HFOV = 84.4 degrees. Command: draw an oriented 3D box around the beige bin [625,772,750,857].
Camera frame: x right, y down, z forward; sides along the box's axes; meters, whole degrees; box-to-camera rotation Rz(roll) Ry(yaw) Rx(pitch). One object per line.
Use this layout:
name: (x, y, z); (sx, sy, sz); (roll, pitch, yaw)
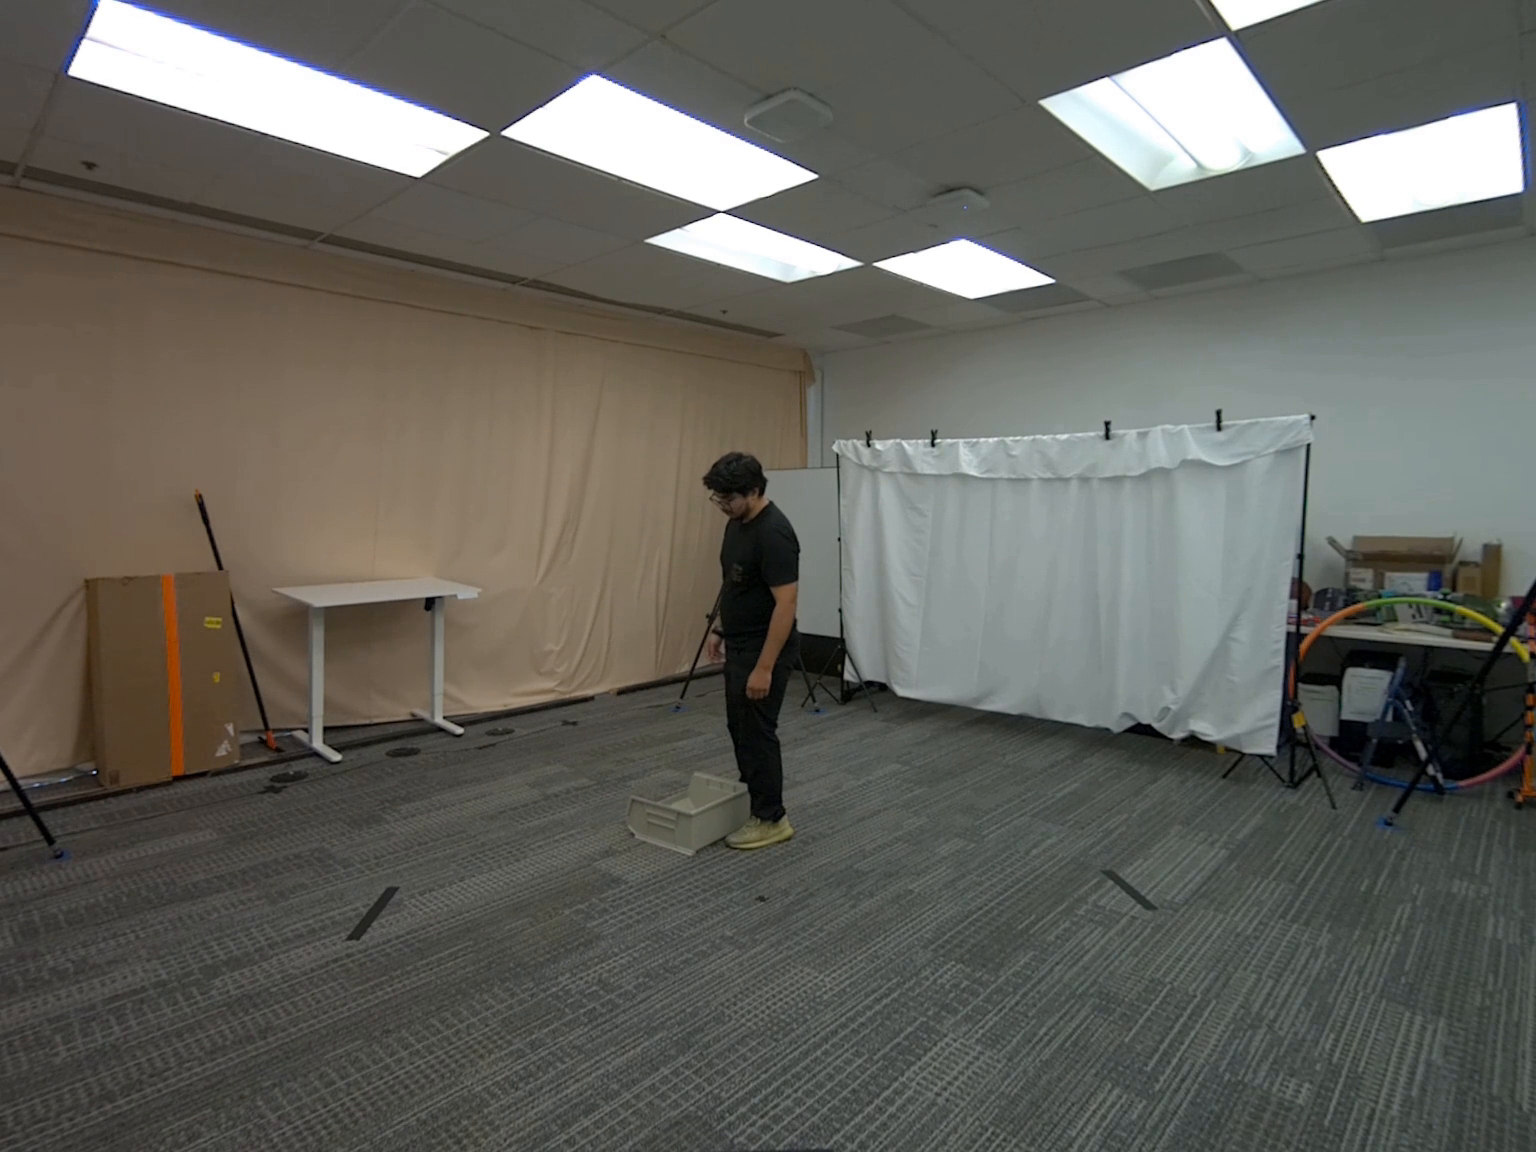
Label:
beige bin: (-0.332, 1.007, 3.615); (0.389, 0.188, 0.410); (3, 5, 37)
